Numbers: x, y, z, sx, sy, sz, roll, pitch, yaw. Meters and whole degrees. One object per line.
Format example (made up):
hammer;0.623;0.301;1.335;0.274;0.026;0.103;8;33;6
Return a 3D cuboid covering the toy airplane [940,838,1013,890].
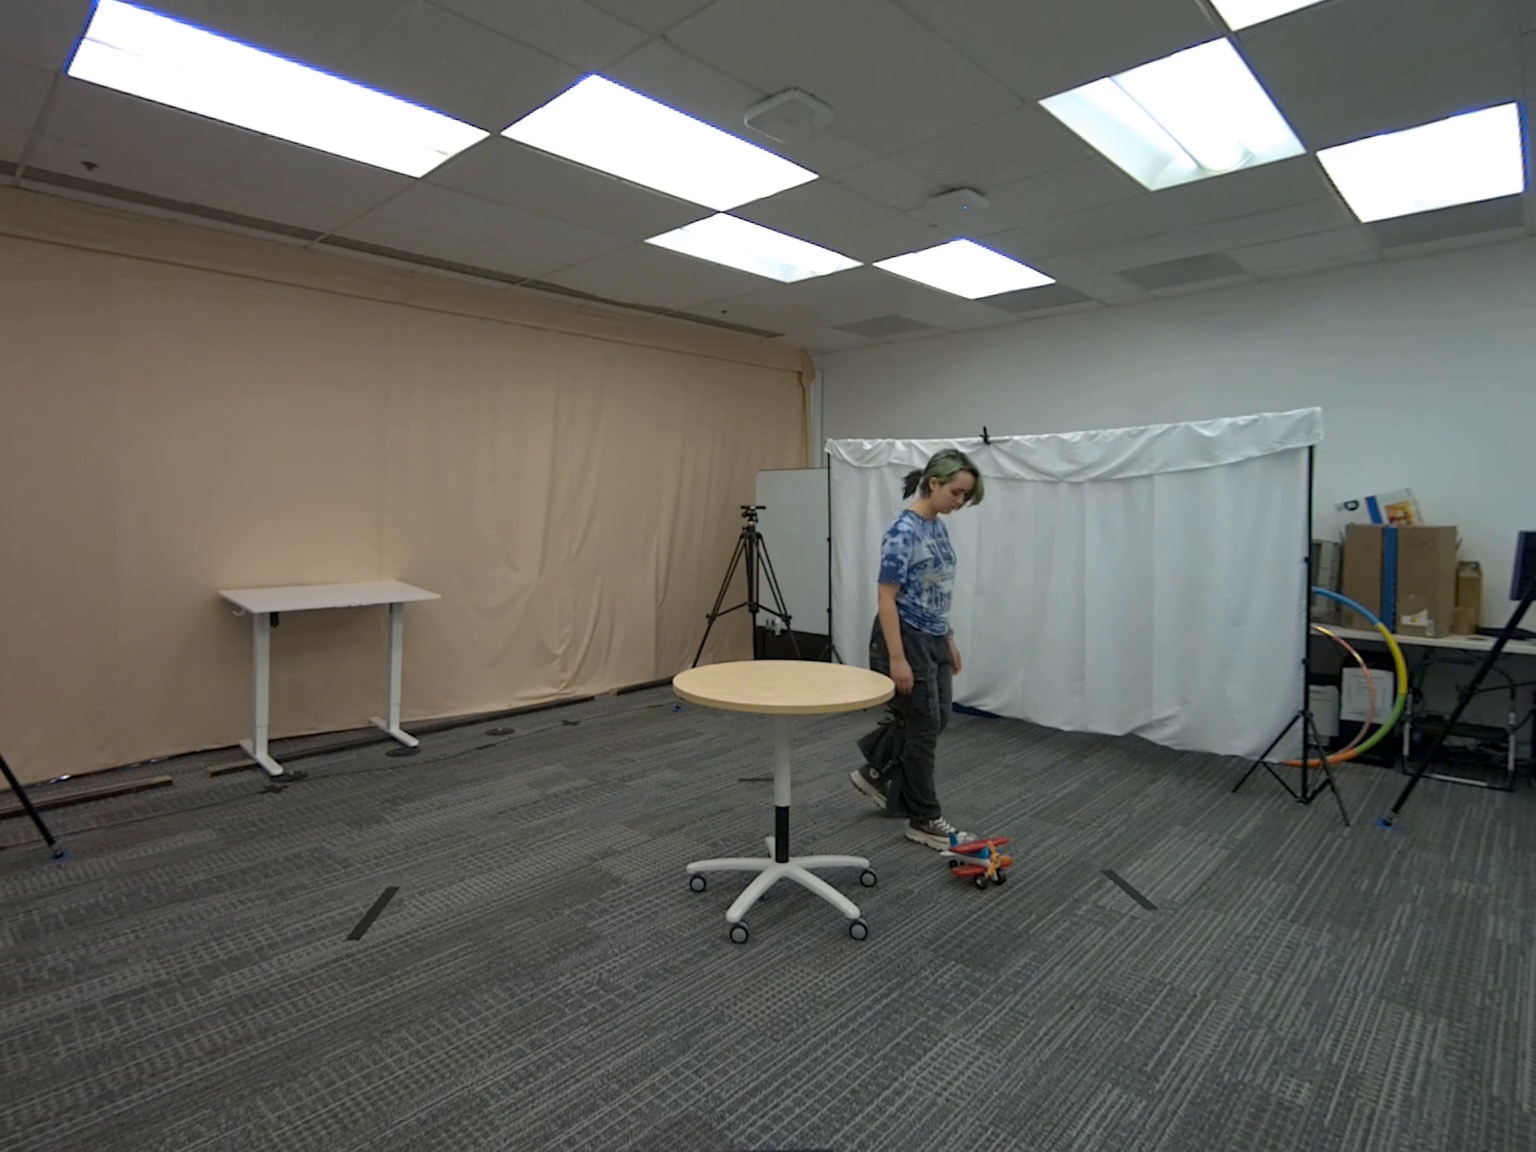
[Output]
toy airplane;0.754;1.048;3.144;0.267;0.156;0.244;4;6;35
